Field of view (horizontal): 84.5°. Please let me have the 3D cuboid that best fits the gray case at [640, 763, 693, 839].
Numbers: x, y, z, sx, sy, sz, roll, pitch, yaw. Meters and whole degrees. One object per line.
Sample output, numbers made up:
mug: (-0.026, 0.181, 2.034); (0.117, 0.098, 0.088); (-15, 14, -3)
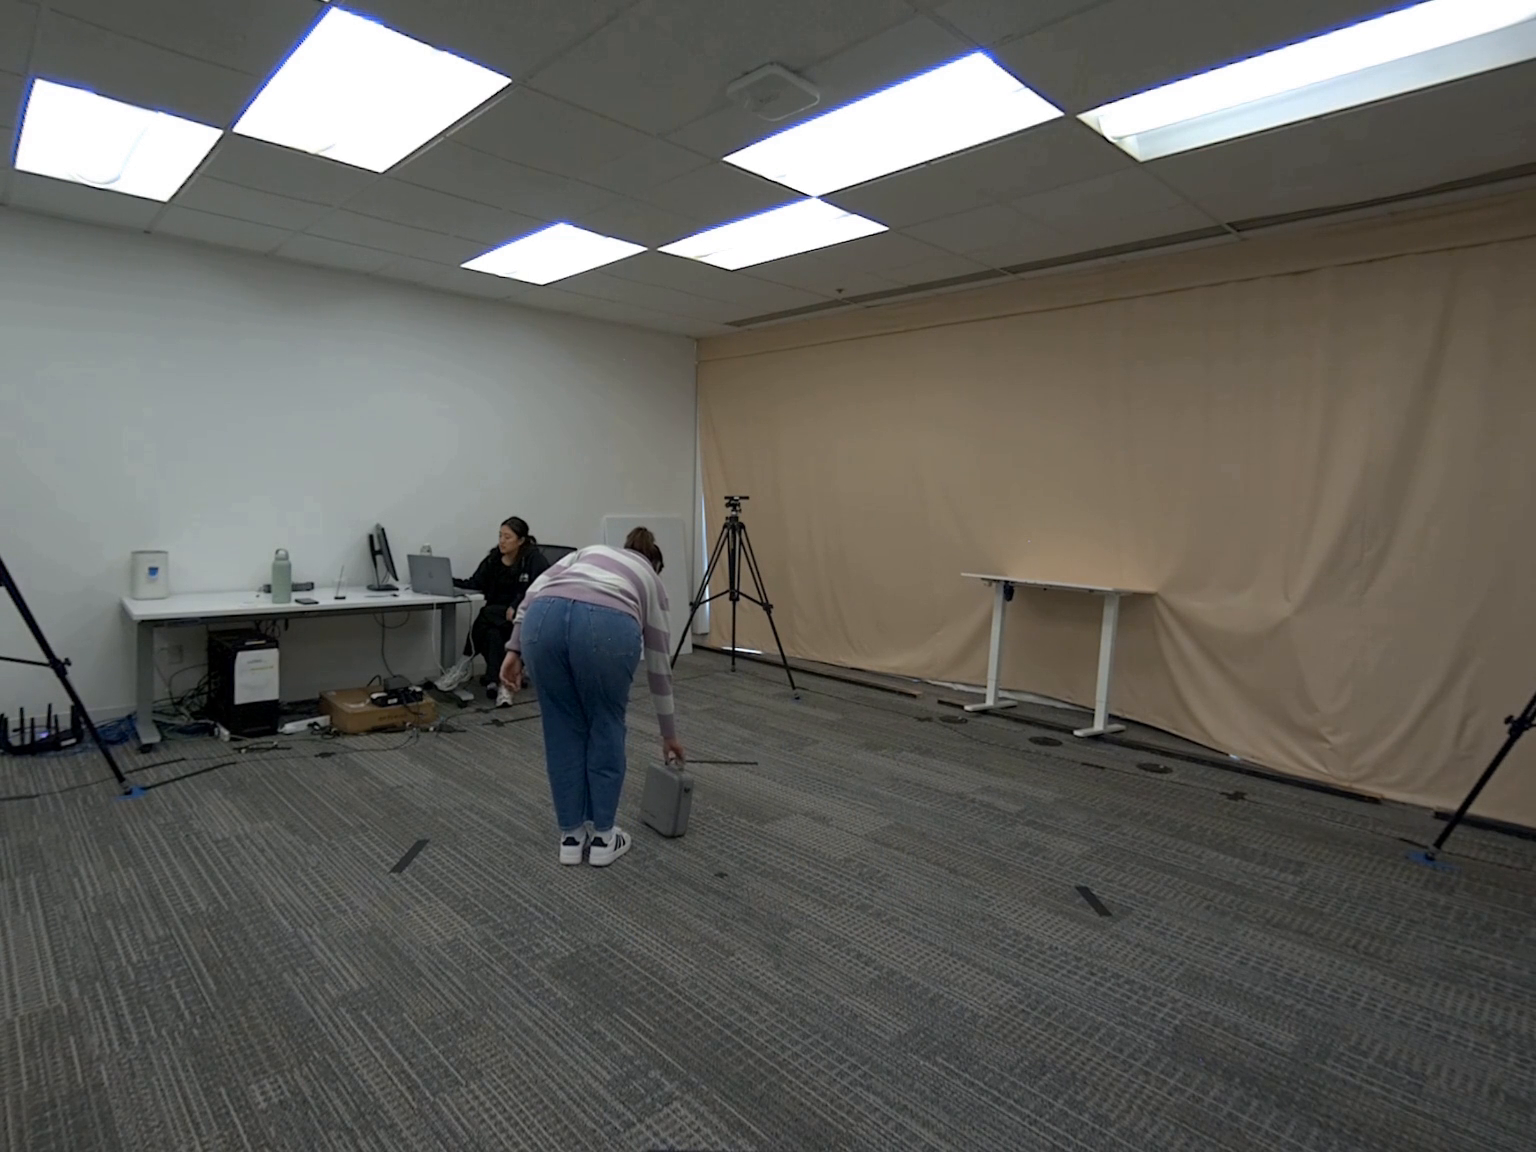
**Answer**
gray case: (-0.434, 0.927, 3.532); (0.102, 0.261, 0.263); (9, -1, -35)
